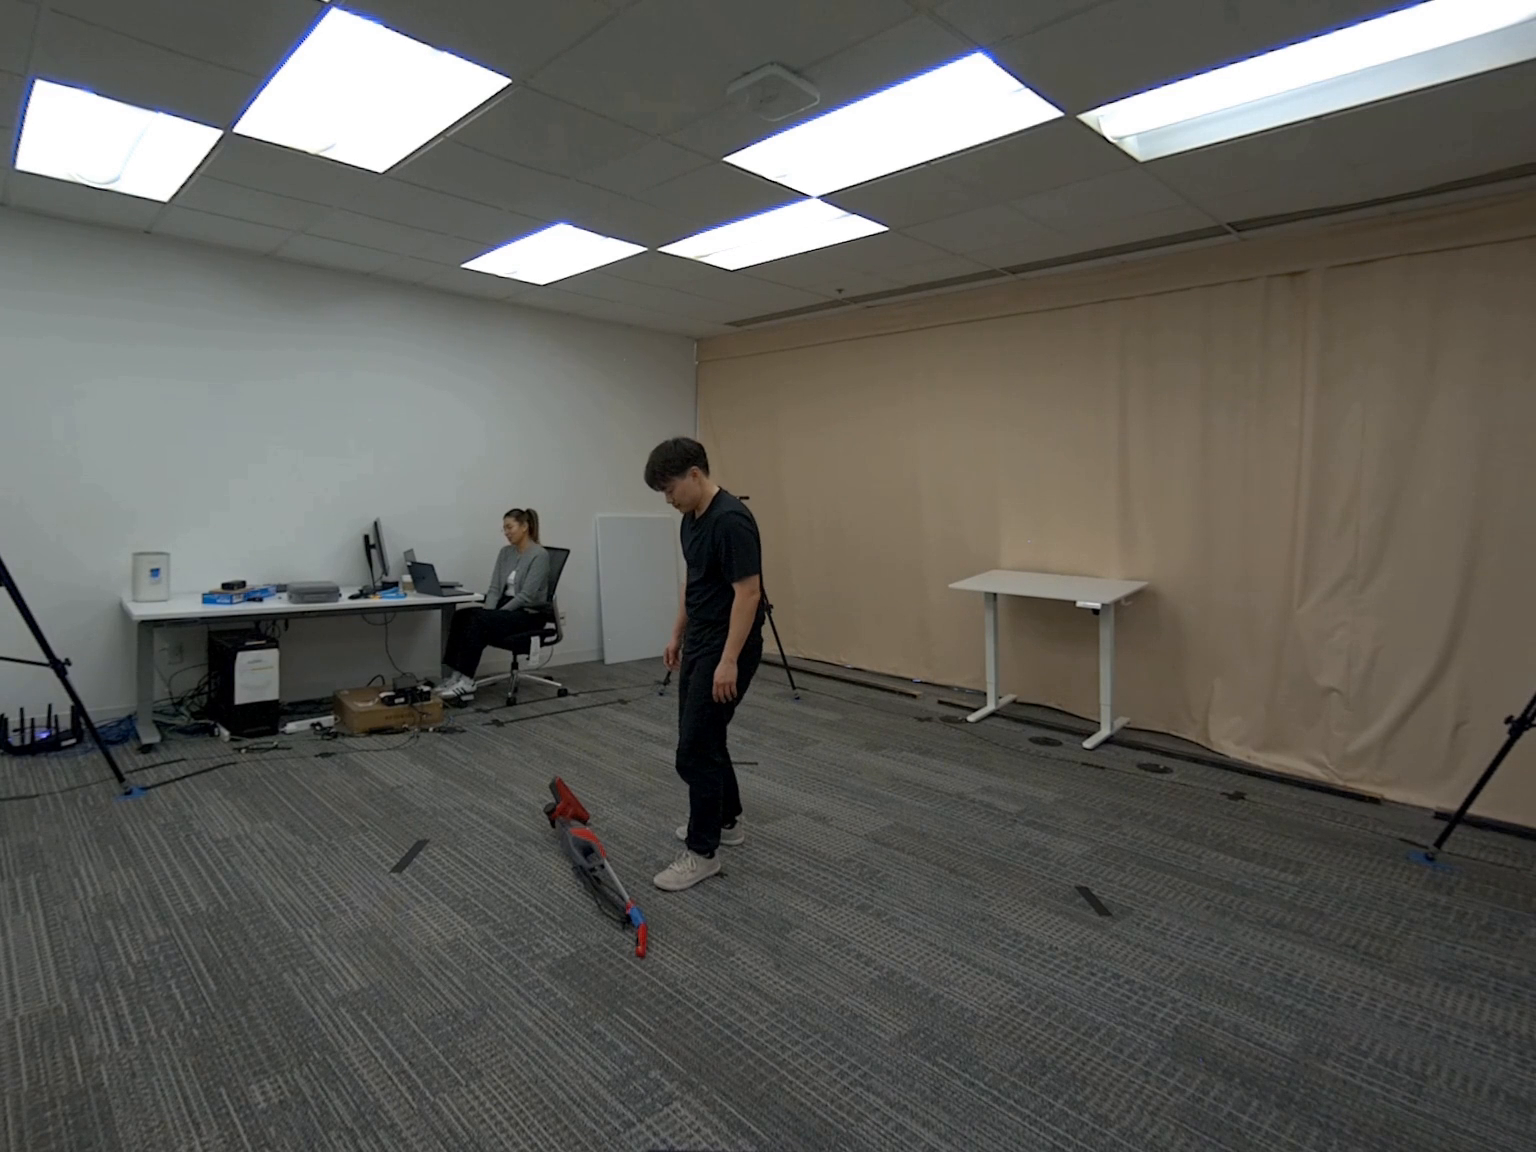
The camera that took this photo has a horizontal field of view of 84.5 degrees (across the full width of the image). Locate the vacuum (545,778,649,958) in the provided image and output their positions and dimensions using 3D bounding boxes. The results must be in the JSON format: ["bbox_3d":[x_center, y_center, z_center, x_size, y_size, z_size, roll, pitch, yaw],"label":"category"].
[{"bbox_3d":[-0.617,1.053,3.006,0.143,0.247,1.074,-36,23,-15],"label":"vacuum"}]
